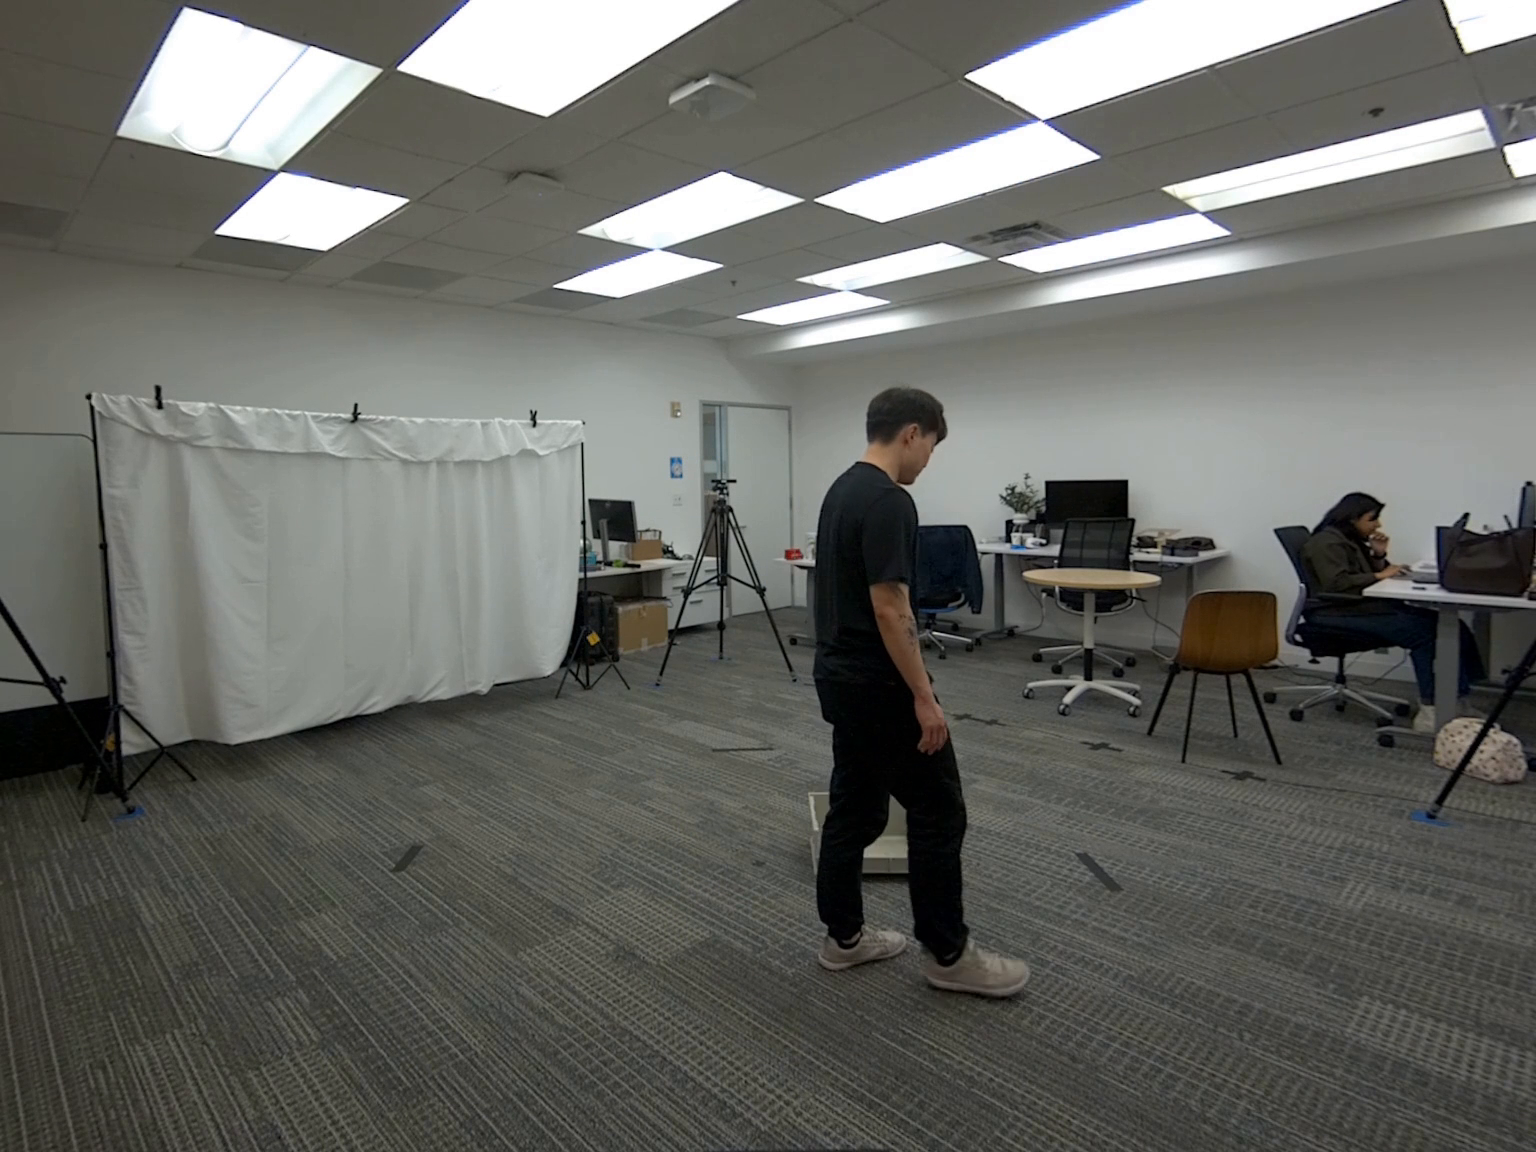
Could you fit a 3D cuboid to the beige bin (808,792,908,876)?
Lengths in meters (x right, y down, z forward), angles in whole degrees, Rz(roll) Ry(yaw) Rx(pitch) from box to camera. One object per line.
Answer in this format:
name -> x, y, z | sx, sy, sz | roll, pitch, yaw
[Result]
beige bin -> 0.377, 0.953, 3.127 | 0.423, 0.188, 0.378 | -2, 5, 1
